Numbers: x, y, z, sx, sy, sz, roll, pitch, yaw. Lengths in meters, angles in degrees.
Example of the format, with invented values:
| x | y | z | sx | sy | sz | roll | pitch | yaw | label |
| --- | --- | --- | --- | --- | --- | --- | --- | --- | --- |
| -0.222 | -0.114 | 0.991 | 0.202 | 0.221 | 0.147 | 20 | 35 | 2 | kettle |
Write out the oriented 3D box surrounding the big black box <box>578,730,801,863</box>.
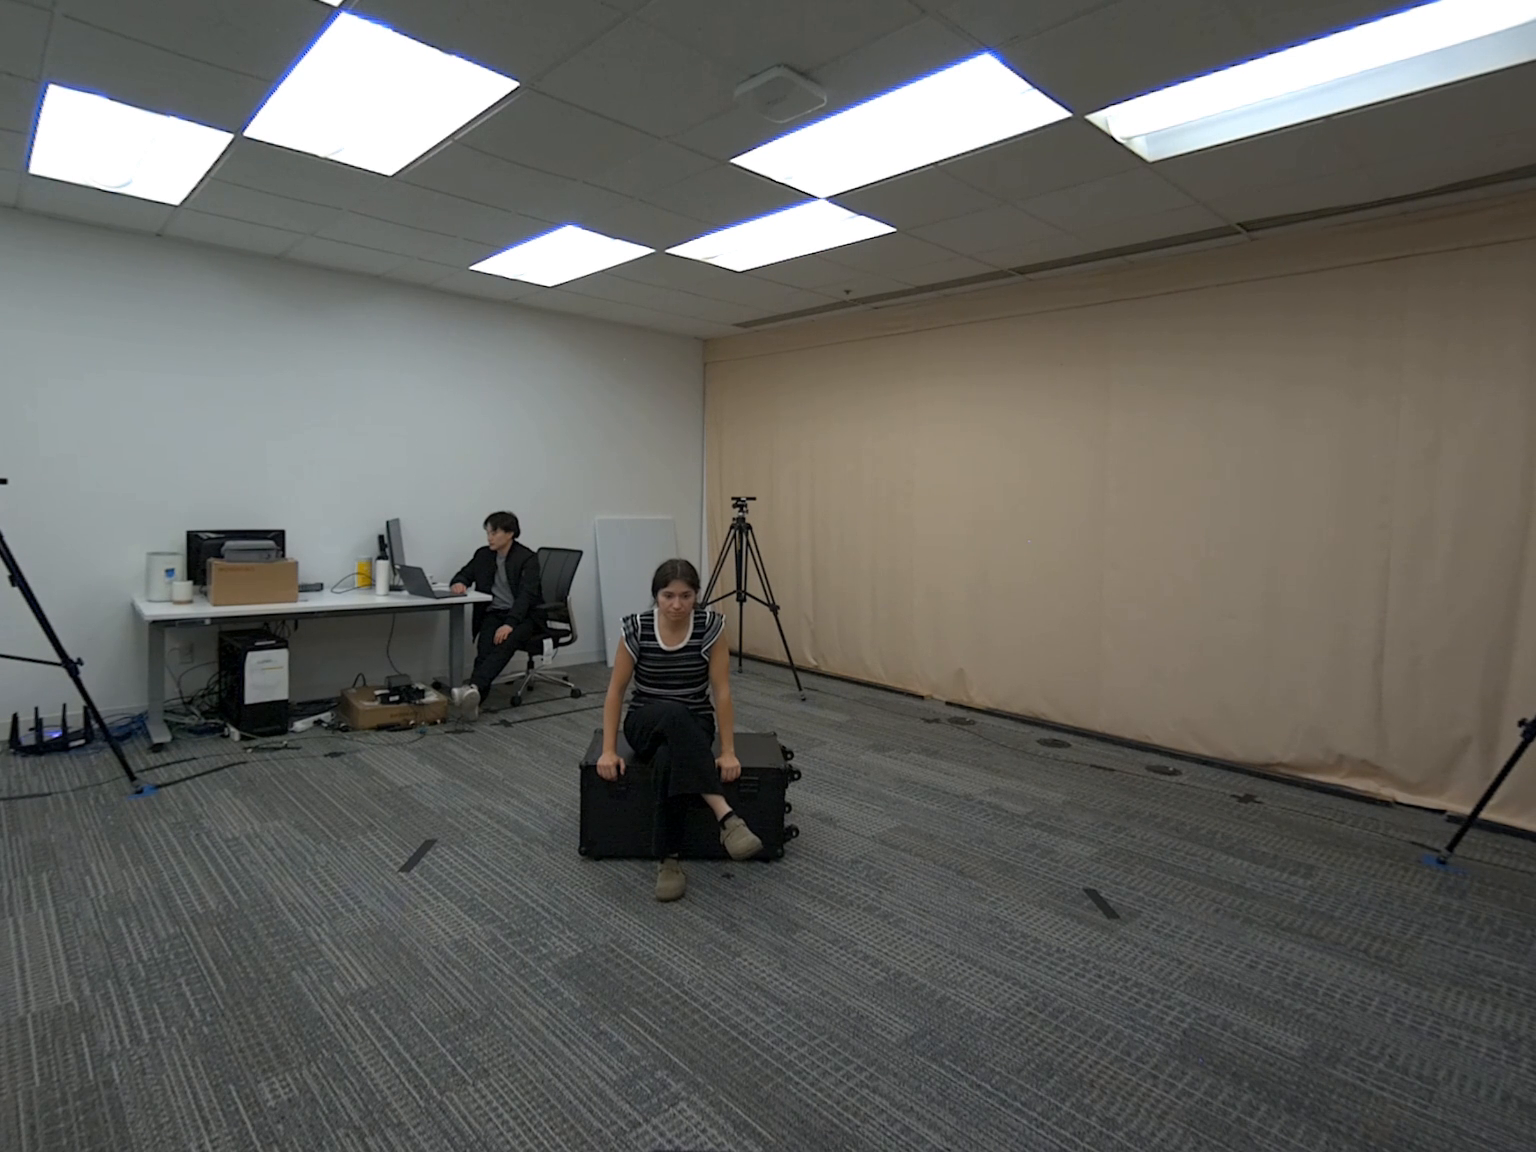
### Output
| x | y | z | sx | sy | sz | roll | pitch | yaw | label |
| --- | --- | --- | --- | --- | --- | --- | --- | --- | --- |
| -0.314 | 0.881 | 3.433 | 0.859 | 0.395 | 0.524 | 1 | 5 | -4 | big black box |
